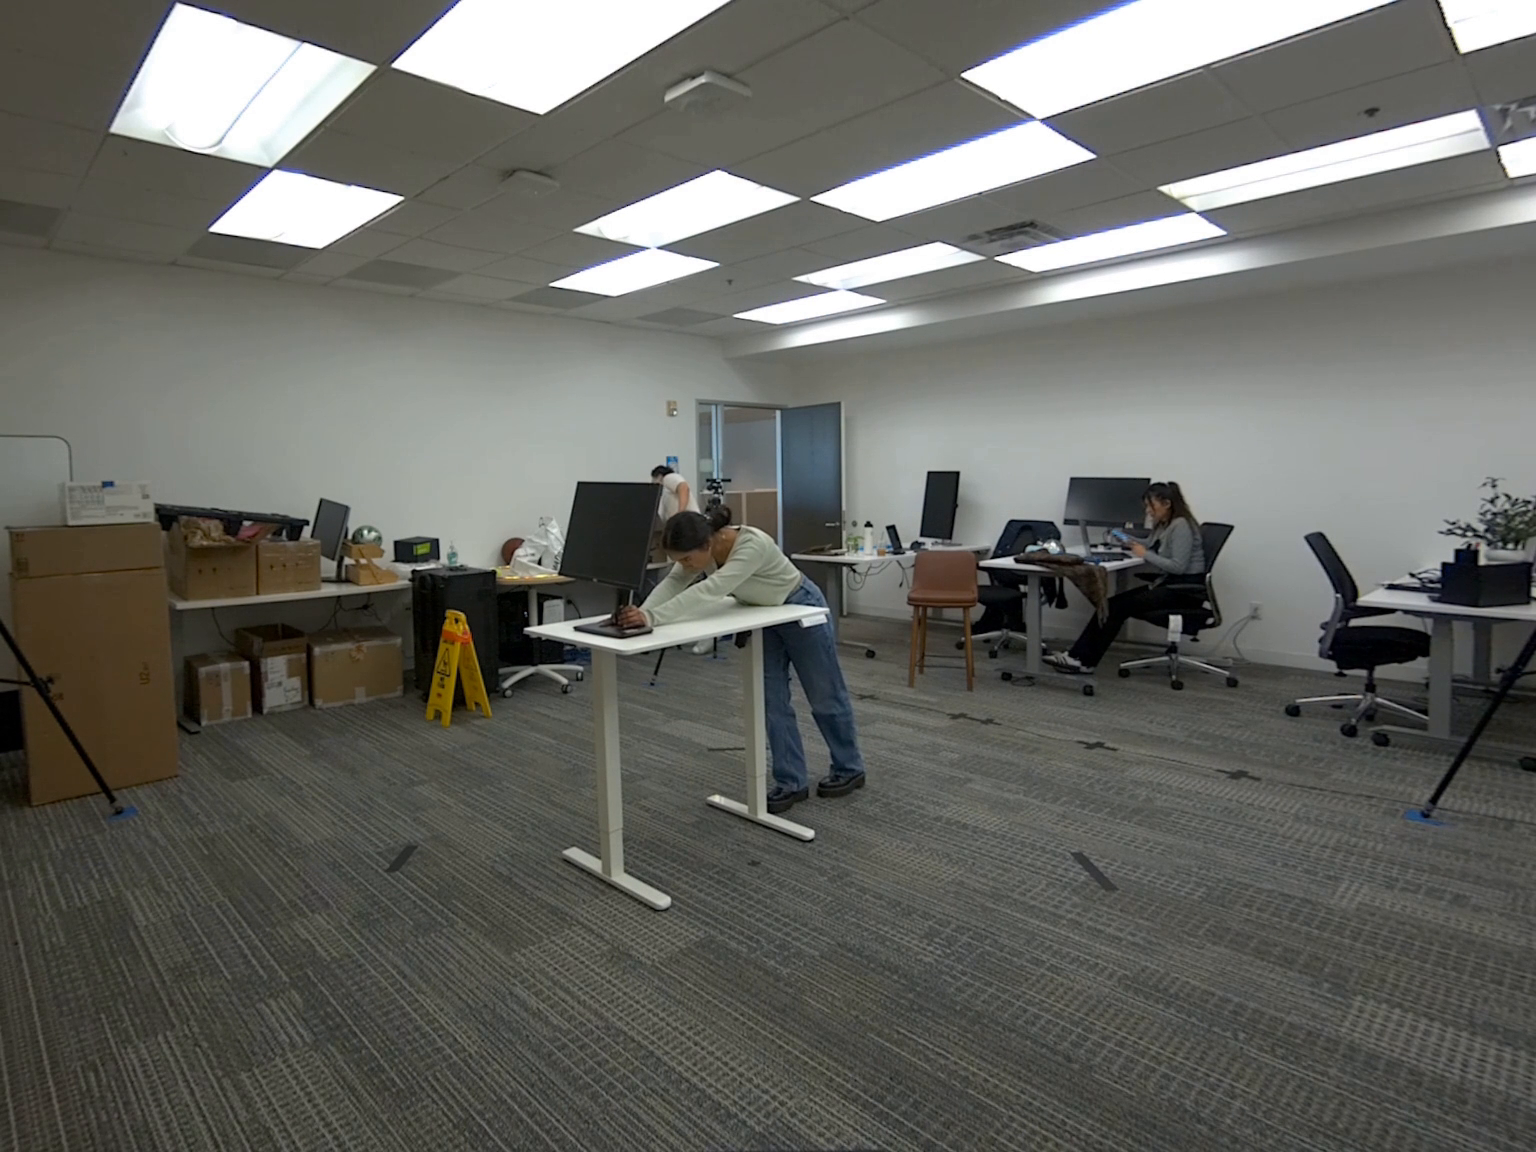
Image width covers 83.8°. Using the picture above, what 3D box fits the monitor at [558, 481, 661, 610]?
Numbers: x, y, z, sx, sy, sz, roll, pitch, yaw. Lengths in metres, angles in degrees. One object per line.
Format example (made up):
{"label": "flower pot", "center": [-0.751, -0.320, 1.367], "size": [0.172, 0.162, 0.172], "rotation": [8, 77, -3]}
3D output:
{"label": "monitor", "center": [-0.530, -0.062, 2.944], "size": [0.182, 0.521, 0.556], "rotation": [-2, 6, -43]}
